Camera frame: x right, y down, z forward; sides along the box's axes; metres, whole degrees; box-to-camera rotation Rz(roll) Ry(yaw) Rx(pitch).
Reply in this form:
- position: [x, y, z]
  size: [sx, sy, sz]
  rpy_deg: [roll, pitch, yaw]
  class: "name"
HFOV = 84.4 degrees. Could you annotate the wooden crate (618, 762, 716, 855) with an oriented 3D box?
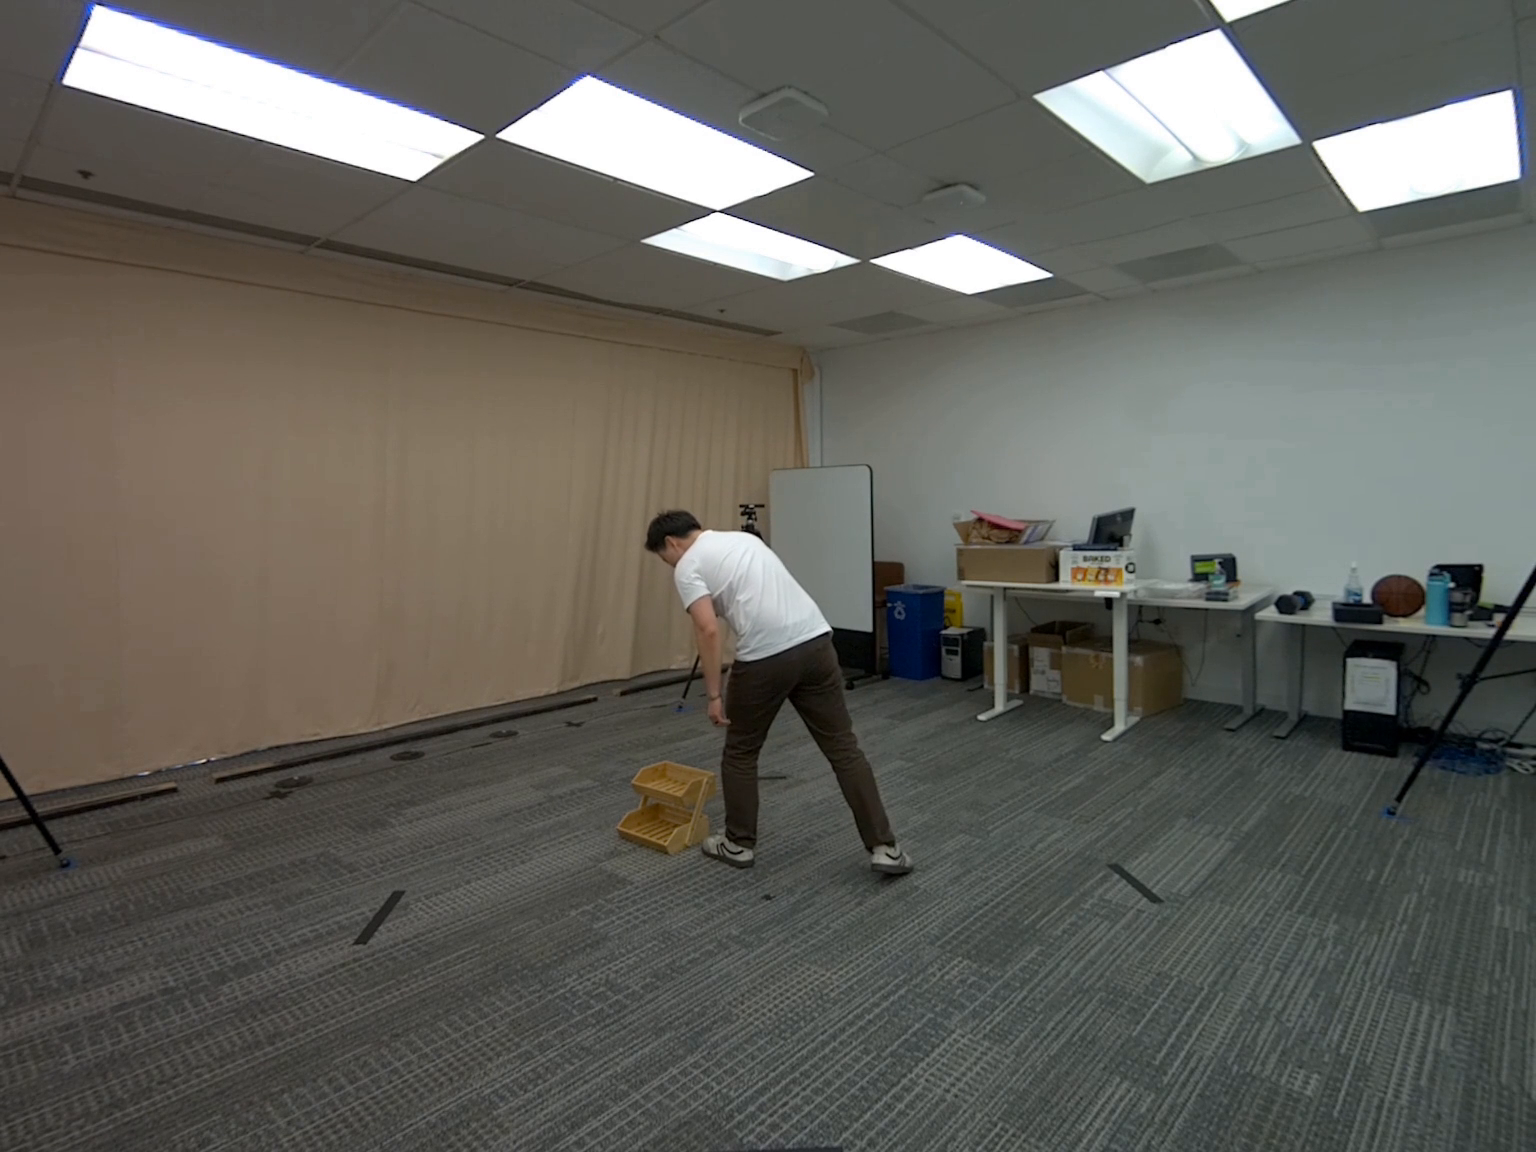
- position: [-0.428, 0.966, 3.552]
  size: [0.335, 0.273, 0.293]
  rpy_deg: [2, 4, 40]
  class: "wooden crate"
